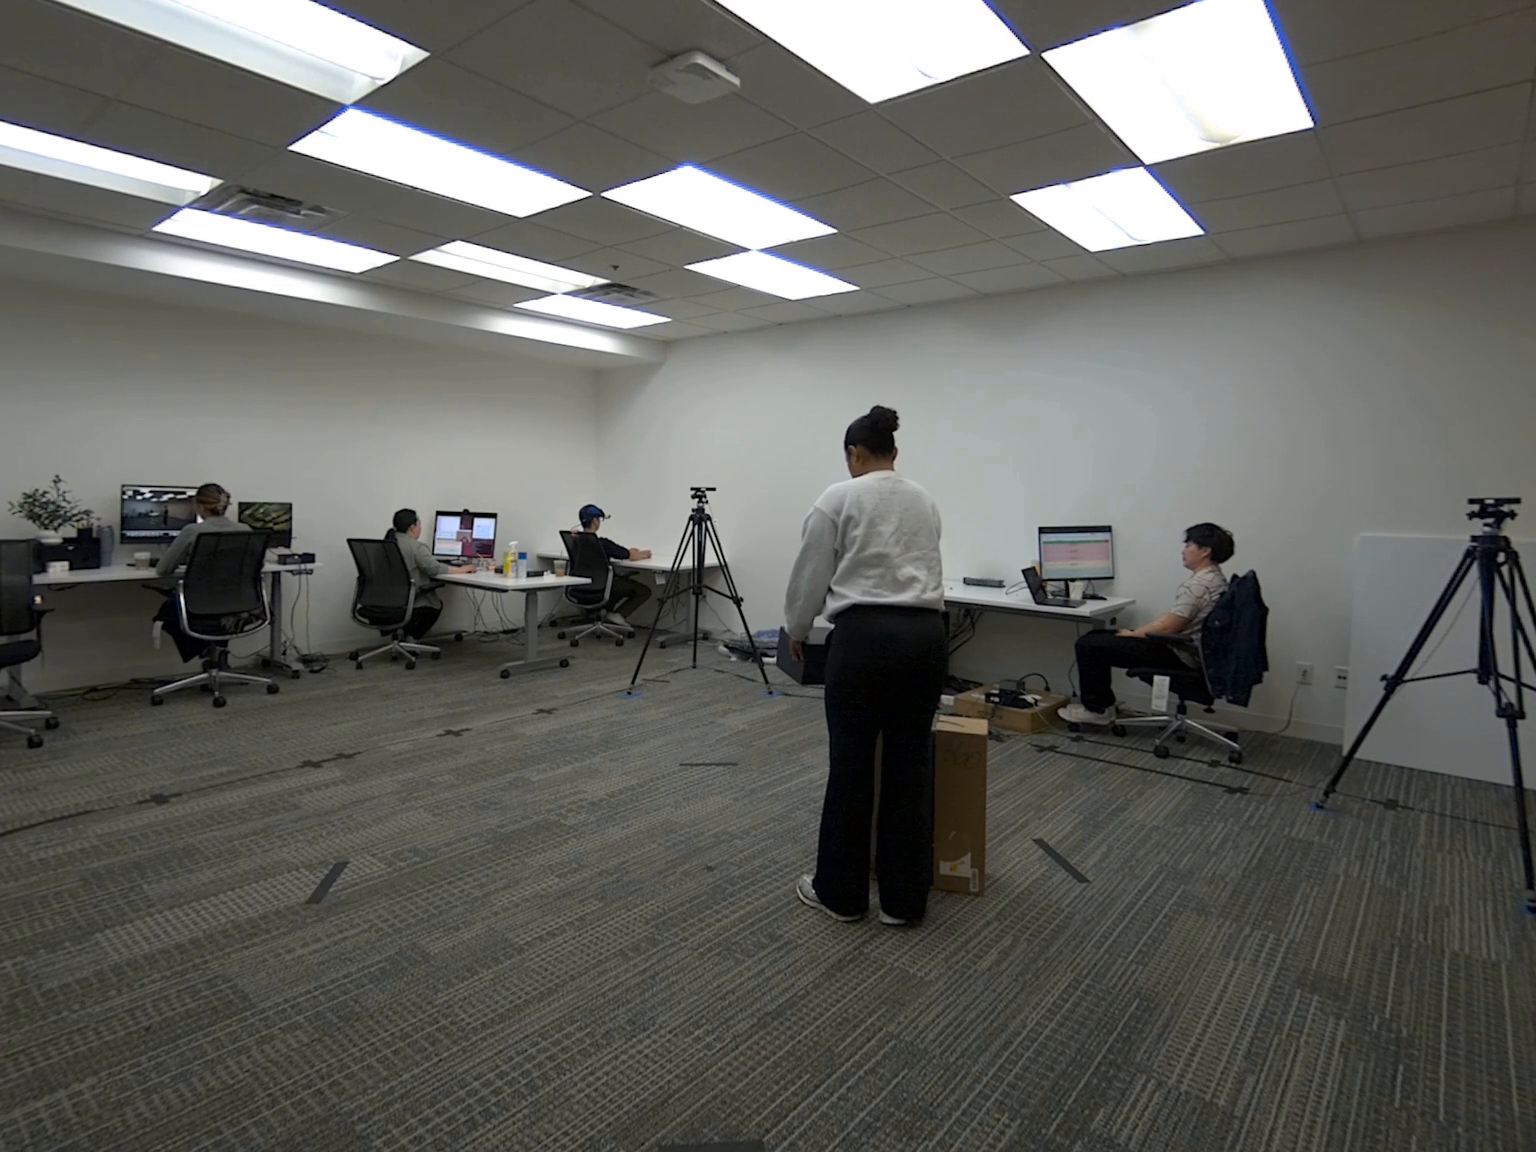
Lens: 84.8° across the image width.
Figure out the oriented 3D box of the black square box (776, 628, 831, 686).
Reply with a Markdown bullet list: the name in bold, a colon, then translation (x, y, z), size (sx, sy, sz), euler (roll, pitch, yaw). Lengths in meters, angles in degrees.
- **black square box**: translation (0.178, 0.293, 3.154), size (0.212, 0.155, 0.235), euler (2, 10, -24)
